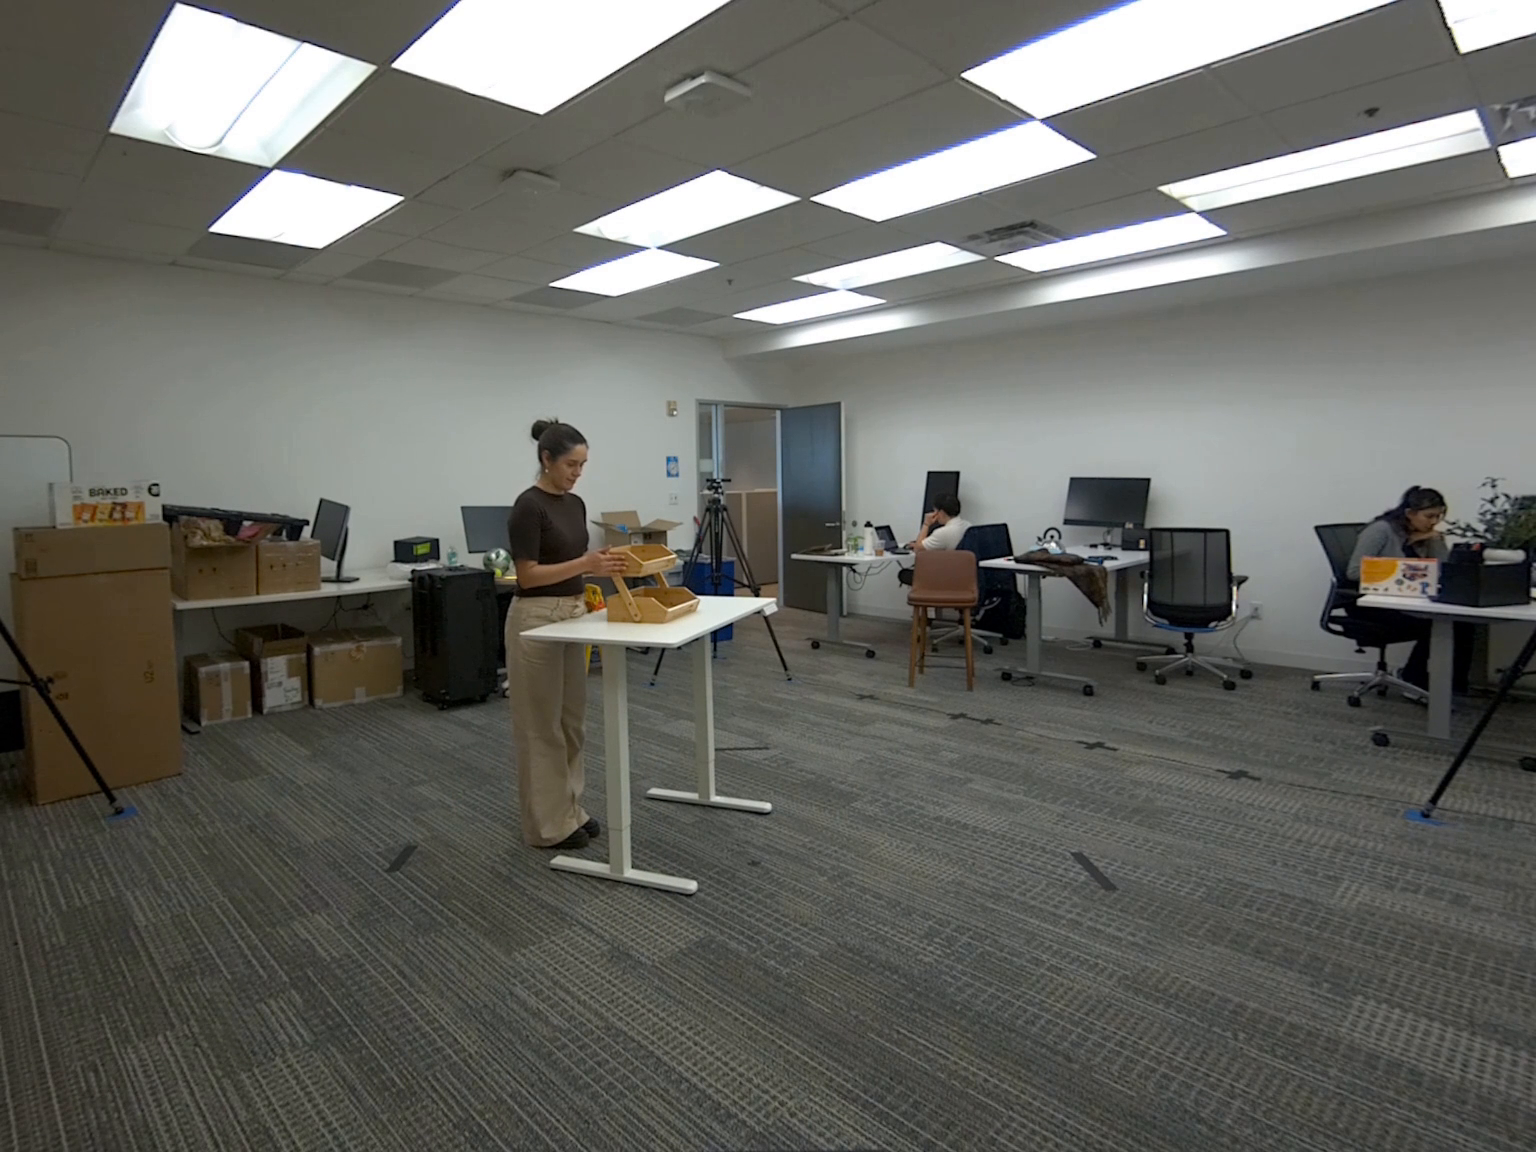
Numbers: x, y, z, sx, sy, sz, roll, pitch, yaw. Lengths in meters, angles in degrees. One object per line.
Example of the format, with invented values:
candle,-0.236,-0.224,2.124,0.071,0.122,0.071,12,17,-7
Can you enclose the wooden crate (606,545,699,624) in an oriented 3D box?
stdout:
wooden crate,-0.456,0.020,3.248,0.307,0.272,0.320,-1,5,19
